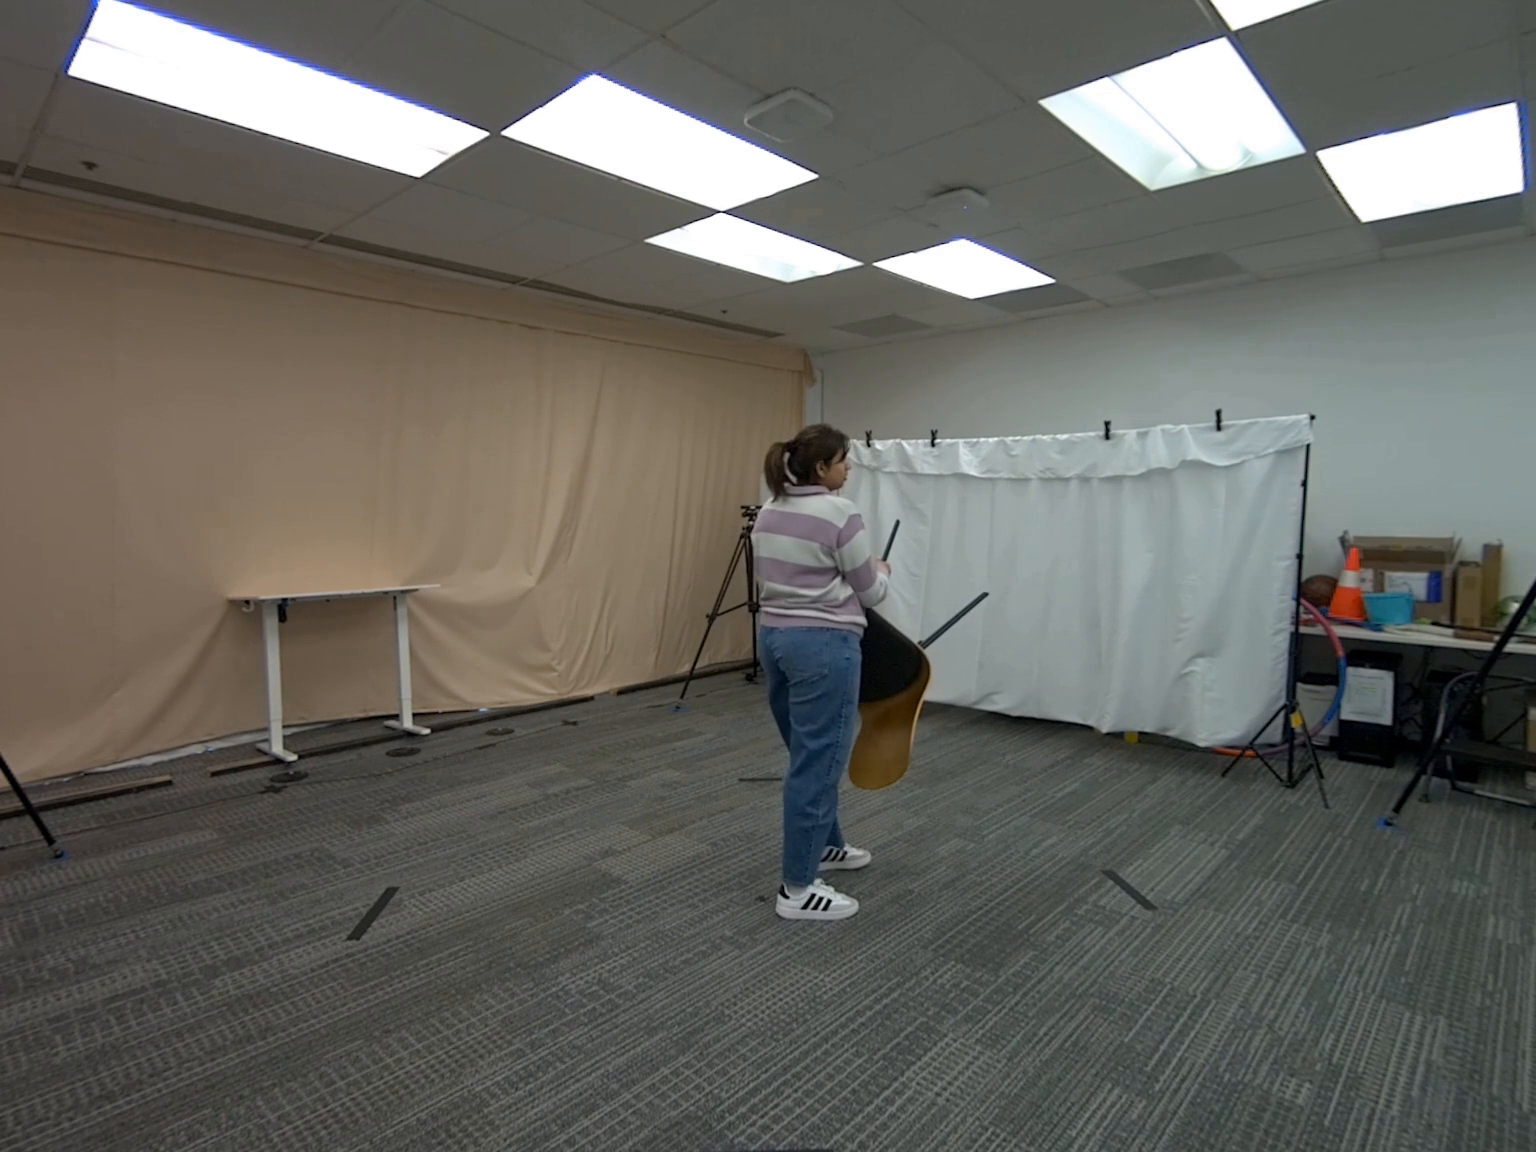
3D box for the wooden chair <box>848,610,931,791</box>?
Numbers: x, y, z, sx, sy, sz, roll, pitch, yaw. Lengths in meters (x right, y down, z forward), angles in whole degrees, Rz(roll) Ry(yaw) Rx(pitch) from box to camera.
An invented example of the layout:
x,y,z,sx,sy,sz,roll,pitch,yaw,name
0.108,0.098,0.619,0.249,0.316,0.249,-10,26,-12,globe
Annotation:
x,y,z,sx,sy,sz,roll,pitch,yaw,name
0.392,0.288,3.150,0.522,0.875,0.480,36,-41,-2,wooden chair
